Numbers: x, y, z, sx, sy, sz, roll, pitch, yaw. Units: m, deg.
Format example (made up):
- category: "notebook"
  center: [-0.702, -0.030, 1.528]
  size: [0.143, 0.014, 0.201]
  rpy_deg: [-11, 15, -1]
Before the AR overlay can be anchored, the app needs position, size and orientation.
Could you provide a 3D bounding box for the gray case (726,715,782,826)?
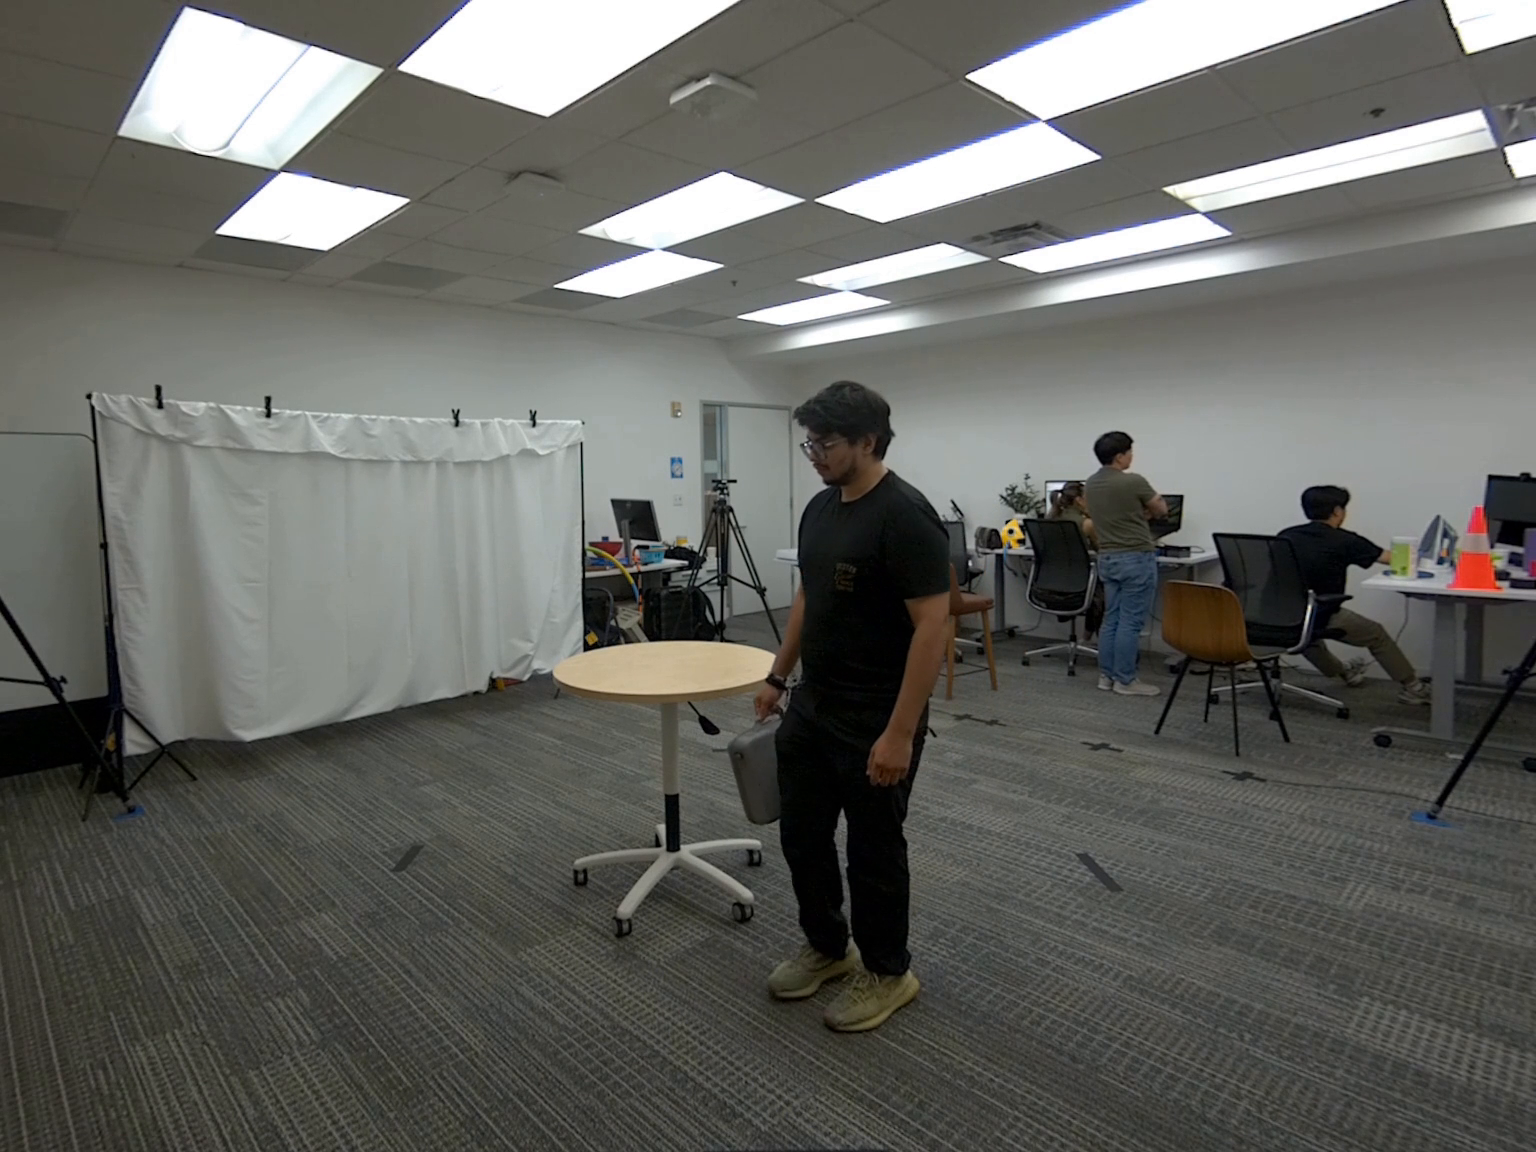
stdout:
- category: "gray case"
  center: [0.031, 0.549, 2.469]
  size: [0.252, 0.260, 0.106]
  rpy_deg: [-17, 3, -37]
